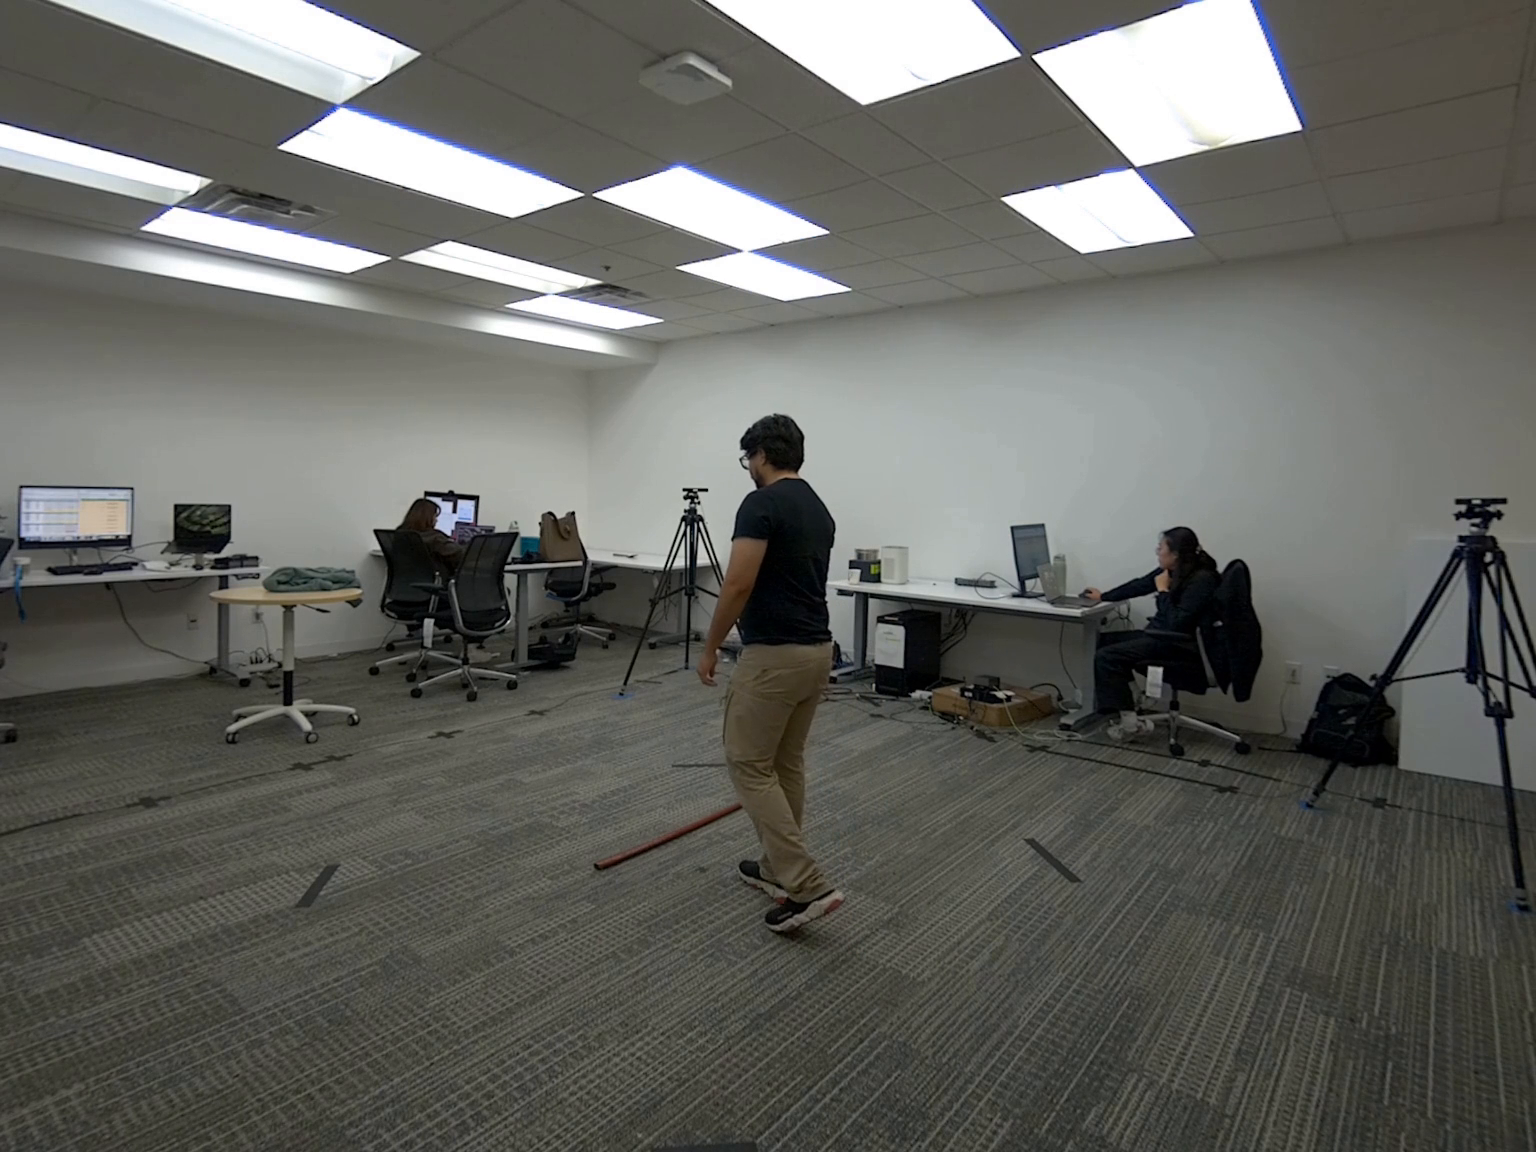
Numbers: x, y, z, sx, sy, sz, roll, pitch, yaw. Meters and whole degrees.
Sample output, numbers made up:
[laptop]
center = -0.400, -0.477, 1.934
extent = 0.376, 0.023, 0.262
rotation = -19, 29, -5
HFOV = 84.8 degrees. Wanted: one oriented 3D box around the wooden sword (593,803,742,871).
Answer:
[wooden sword]
center = -0.321, 1.010, 3.464
extent = 0.052, 0.024, 0.995
rotation = -14, -5, 38
